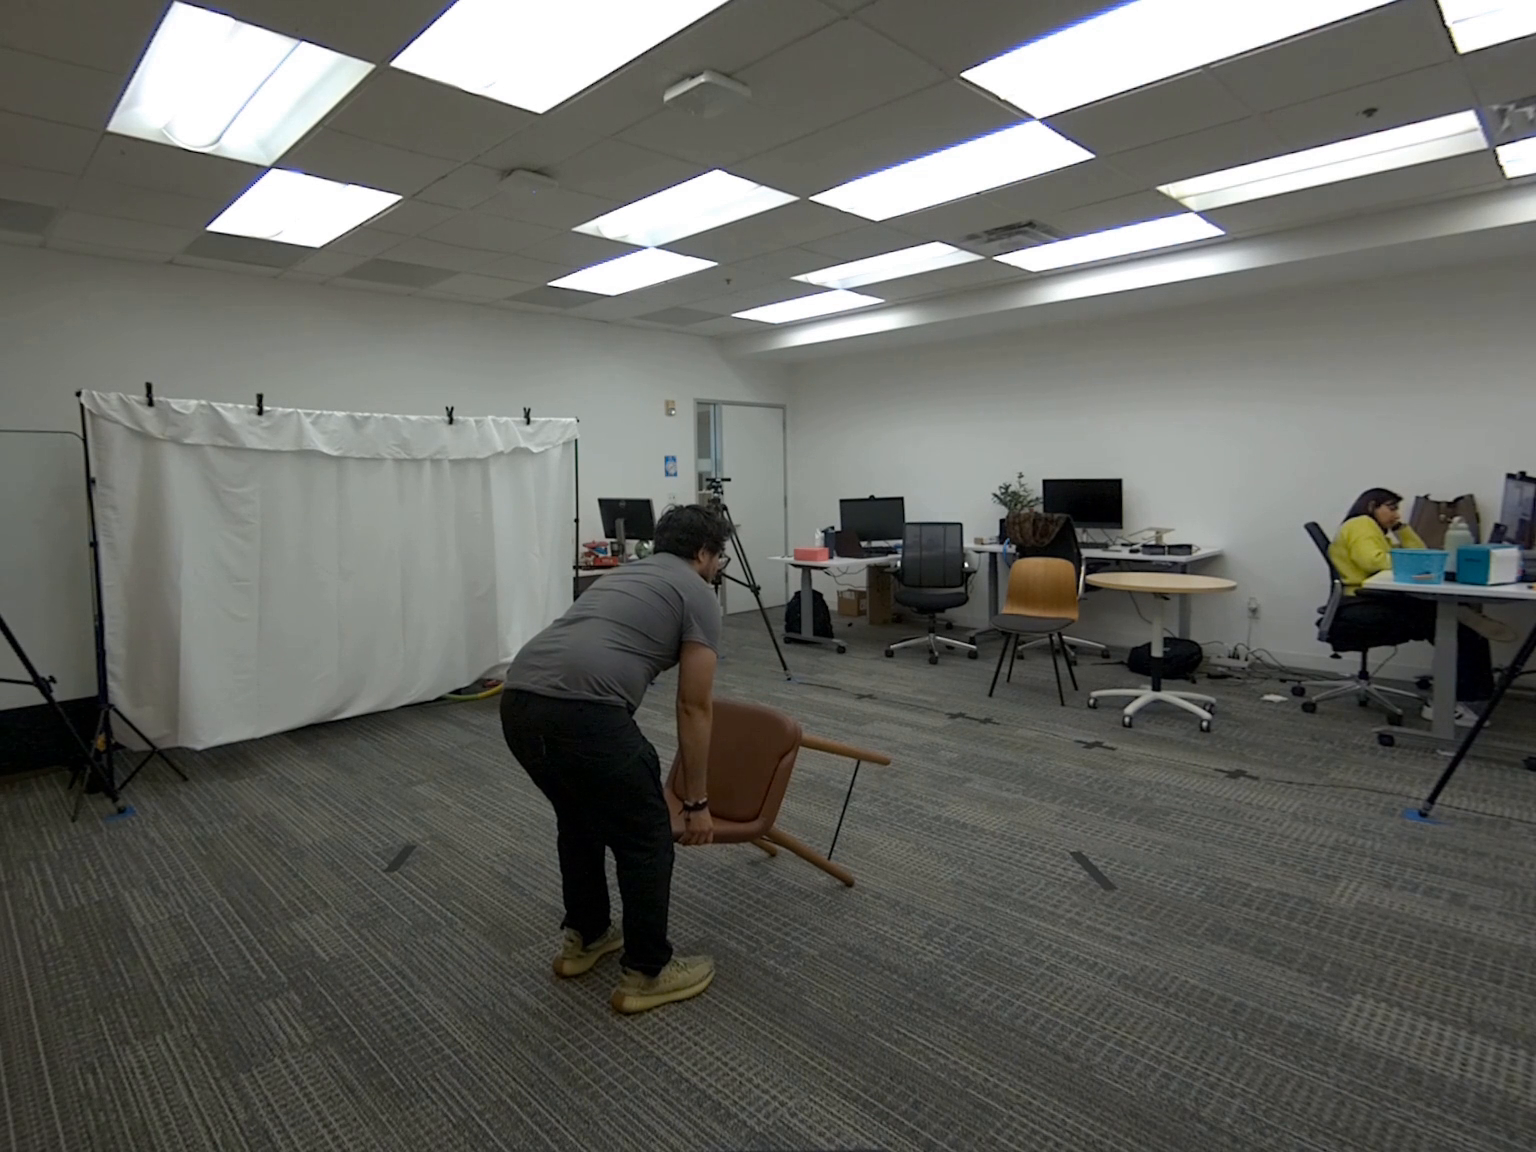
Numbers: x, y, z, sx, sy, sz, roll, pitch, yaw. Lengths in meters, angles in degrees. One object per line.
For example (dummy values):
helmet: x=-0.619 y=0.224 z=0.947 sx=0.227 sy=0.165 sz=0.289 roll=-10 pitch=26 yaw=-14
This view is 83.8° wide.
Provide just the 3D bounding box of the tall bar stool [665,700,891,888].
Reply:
tall bar stool: x=-0.040 y=0.679 z=2.821 sx=0.471 sy=0.471 sz=0.856 roll=4 pitch=-19 yaw=43
